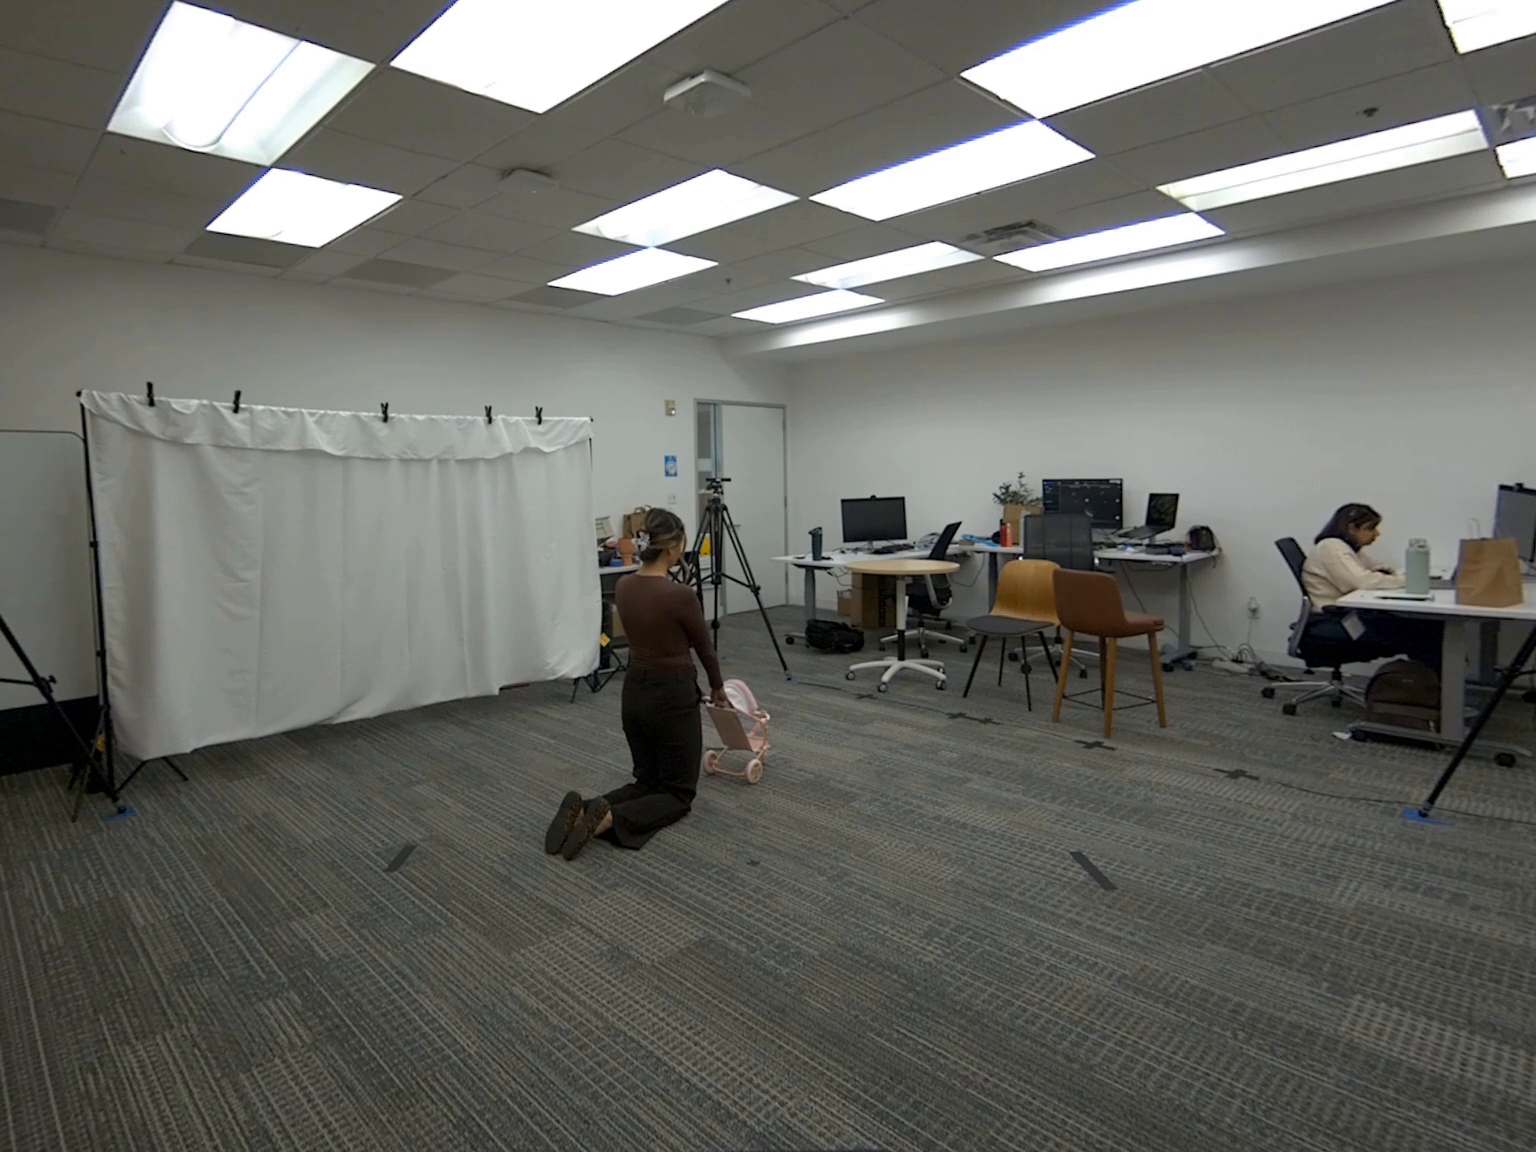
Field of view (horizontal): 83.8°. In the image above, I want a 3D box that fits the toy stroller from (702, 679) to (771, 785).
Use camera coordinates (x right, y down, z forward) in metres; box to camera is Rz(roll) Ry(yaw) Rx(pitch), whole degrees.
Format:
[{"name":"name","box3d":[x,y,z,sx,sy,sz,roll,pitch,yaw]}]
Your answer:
[{"name":"toy stroller","box3d":[-0.137,0.717,4.029,0.290,0.525,0.337,3,23,39]}]
